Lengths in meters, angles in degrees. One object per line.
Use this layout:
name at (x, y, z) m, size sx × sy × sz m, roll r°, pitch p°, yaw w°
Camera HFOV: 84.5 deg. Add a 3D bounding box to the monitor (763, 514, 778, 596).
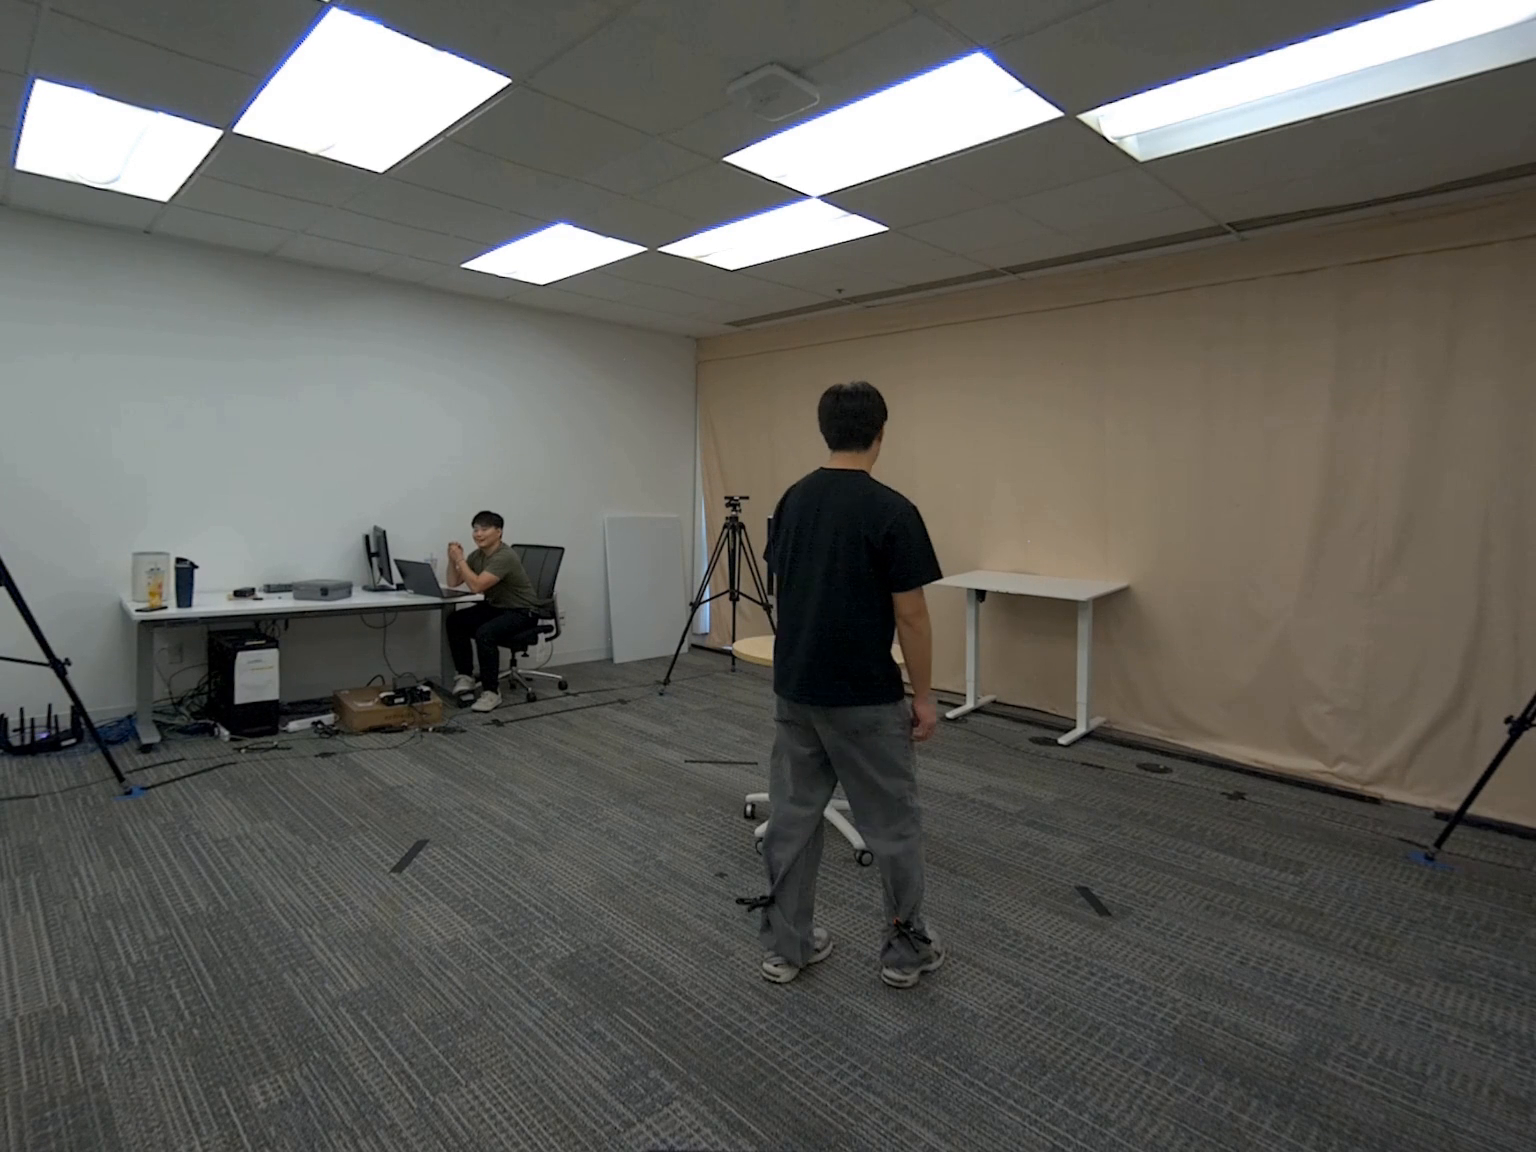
monitor at (0.259, 0.032, 3.641) m, size 0.567 × 0.566 × 0.220 m, roll 3°, pitch 0°, yaw 11°
